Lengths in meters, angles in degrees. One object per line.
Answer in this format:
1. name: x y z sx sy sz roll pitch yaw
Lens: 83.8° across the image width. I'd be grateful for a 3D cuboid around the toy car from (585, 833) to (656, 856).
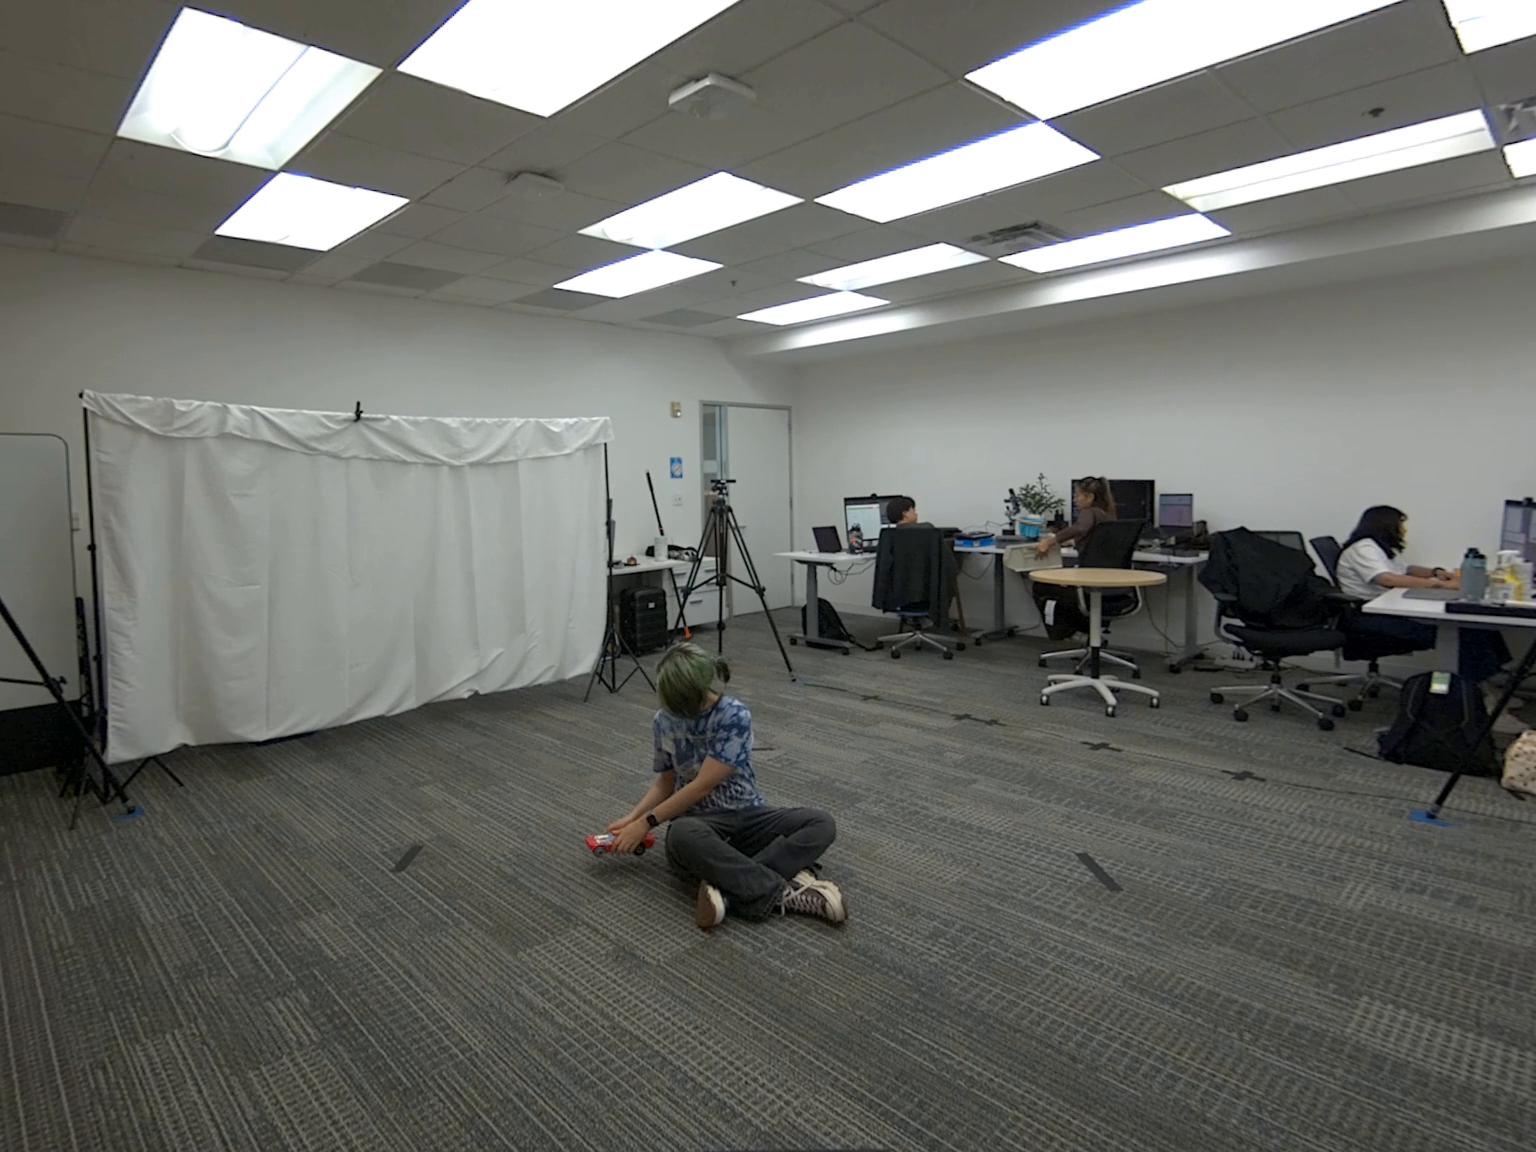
1. toy car: -0.523 0.967 3.085 0.250 0.083 0.133 -7 2 -21
